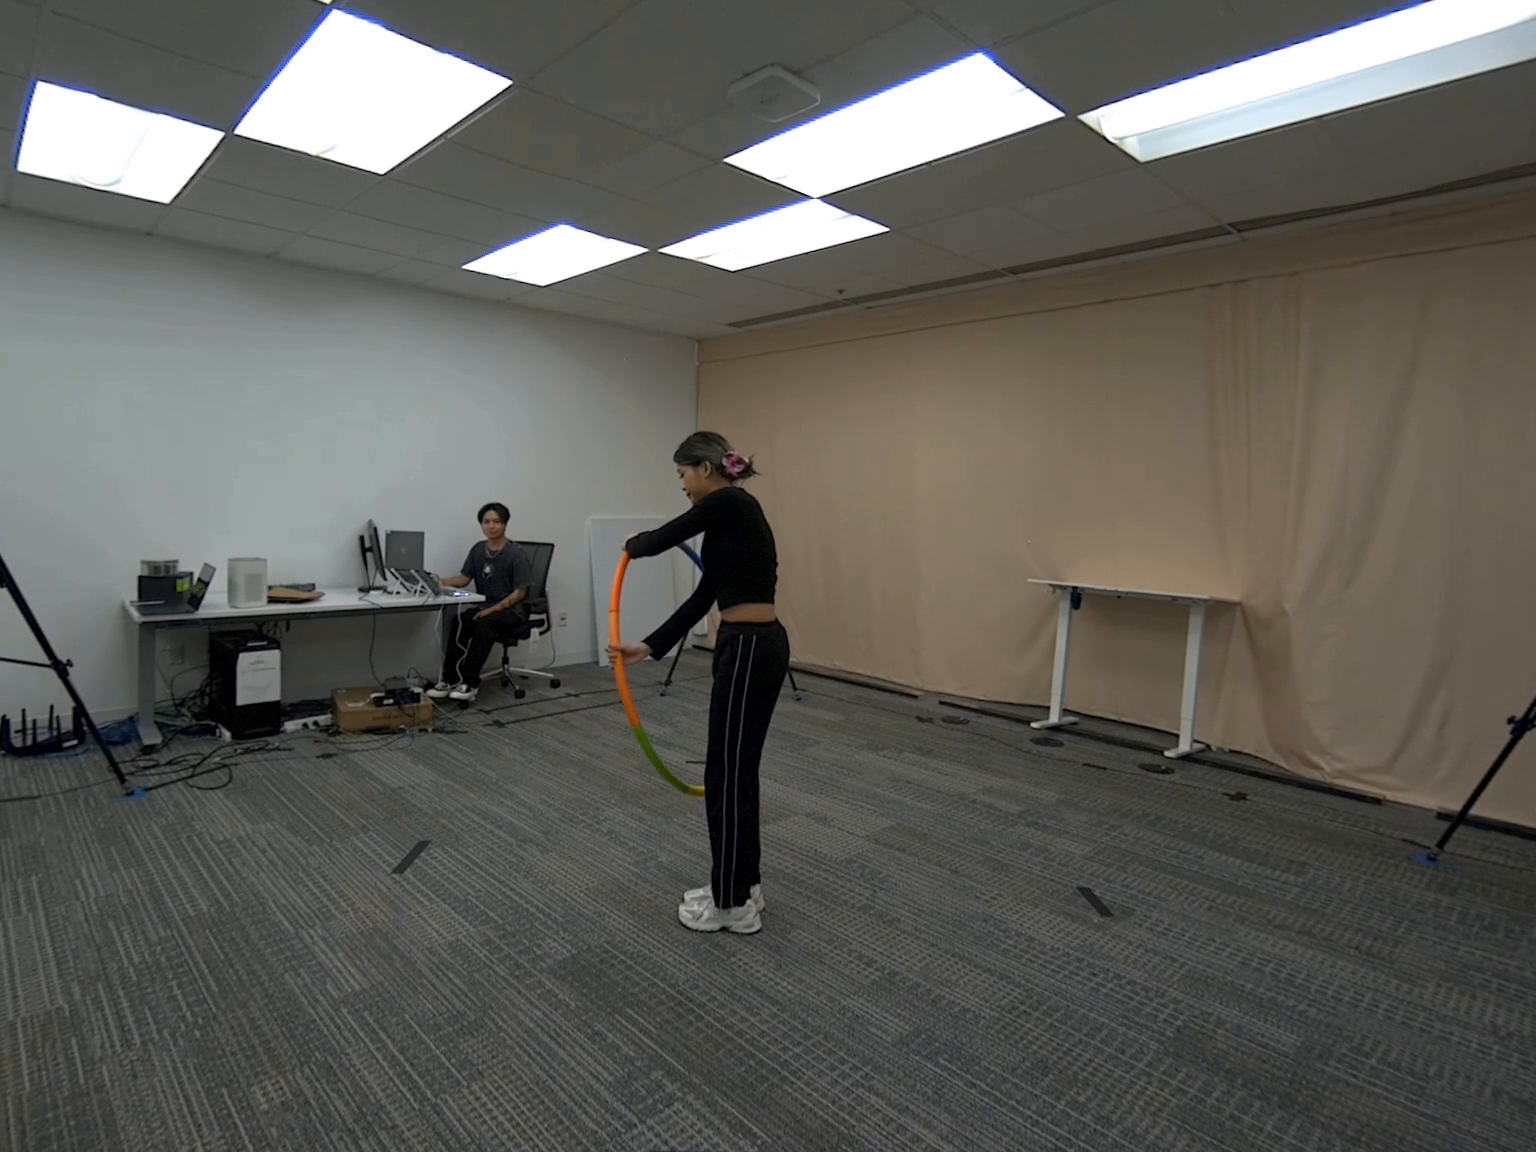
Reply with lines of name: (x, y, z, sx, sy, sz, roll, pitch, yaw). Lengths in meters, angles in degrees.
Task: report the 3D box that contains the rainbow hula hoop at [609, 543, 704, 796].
rainbow hula hoop: (-0.311, 0.316, 3.145, 0.036, 0.981, 0.965, -15, -2, 20)
